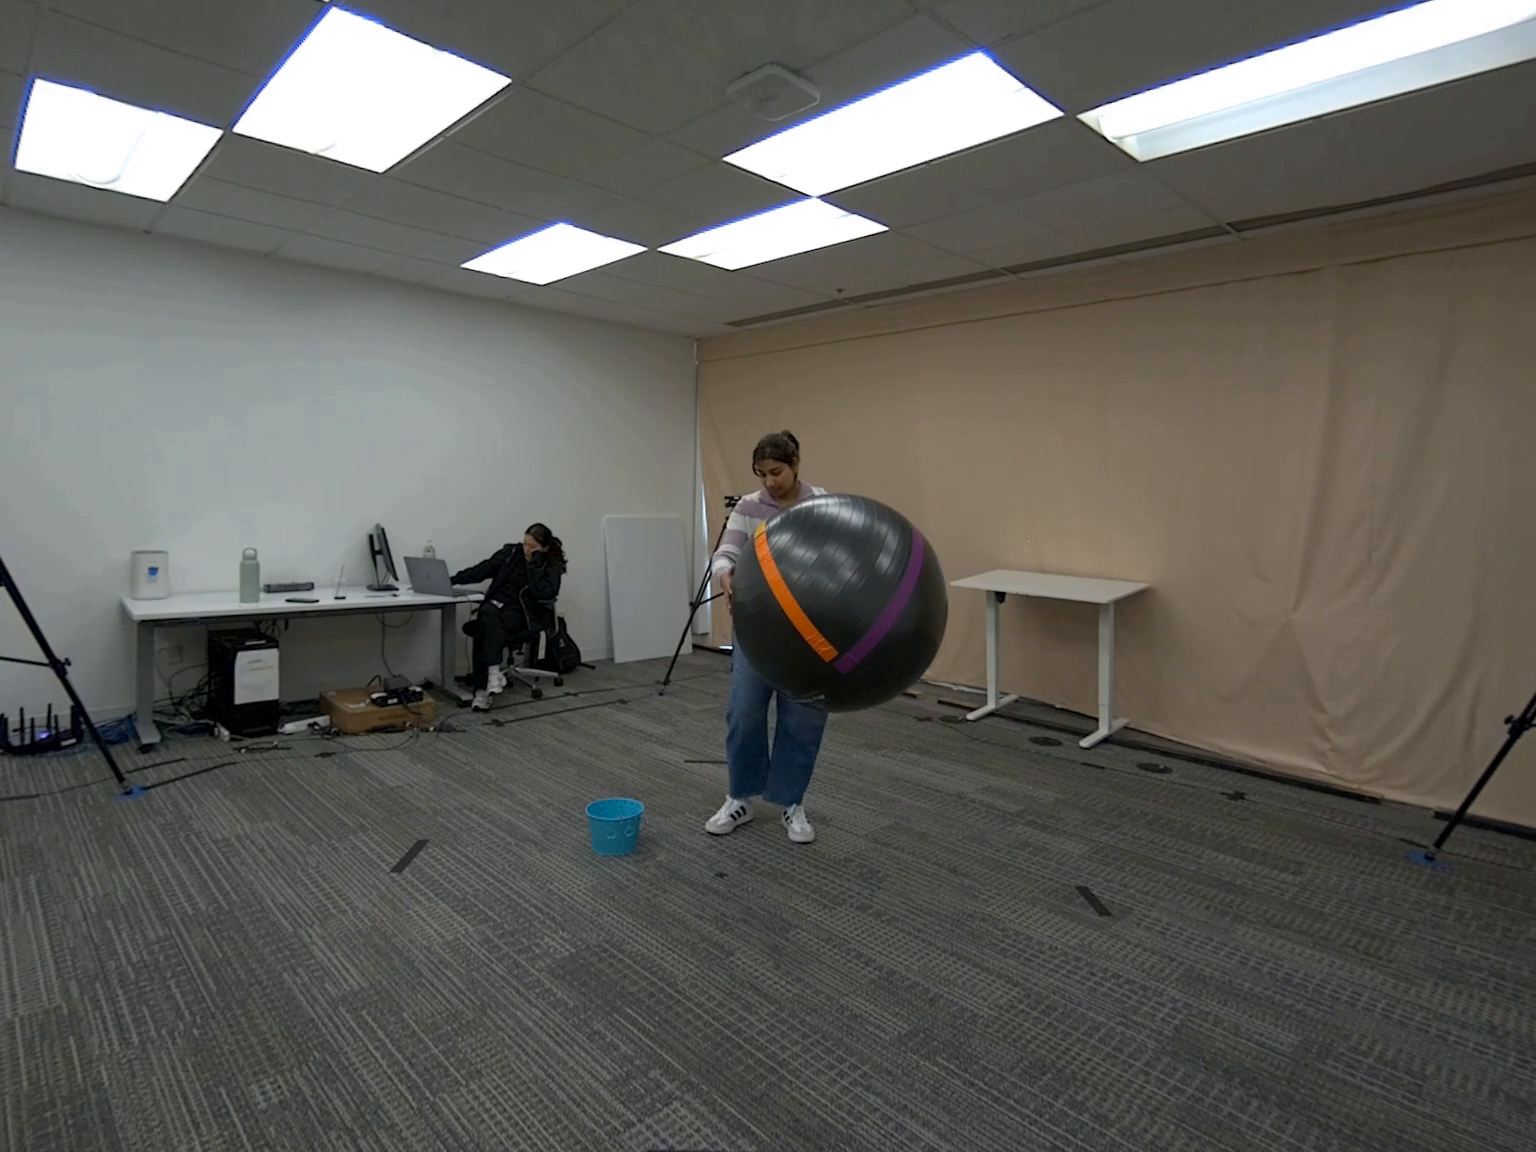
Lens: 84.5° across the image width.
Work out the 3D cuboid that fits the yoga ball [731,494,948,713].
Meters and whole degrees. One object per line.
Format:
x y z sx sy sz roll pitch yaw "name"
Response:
0.233 0.099 2.945 0.757 0.756 0.761 1 4 -1 "yoga ball"
